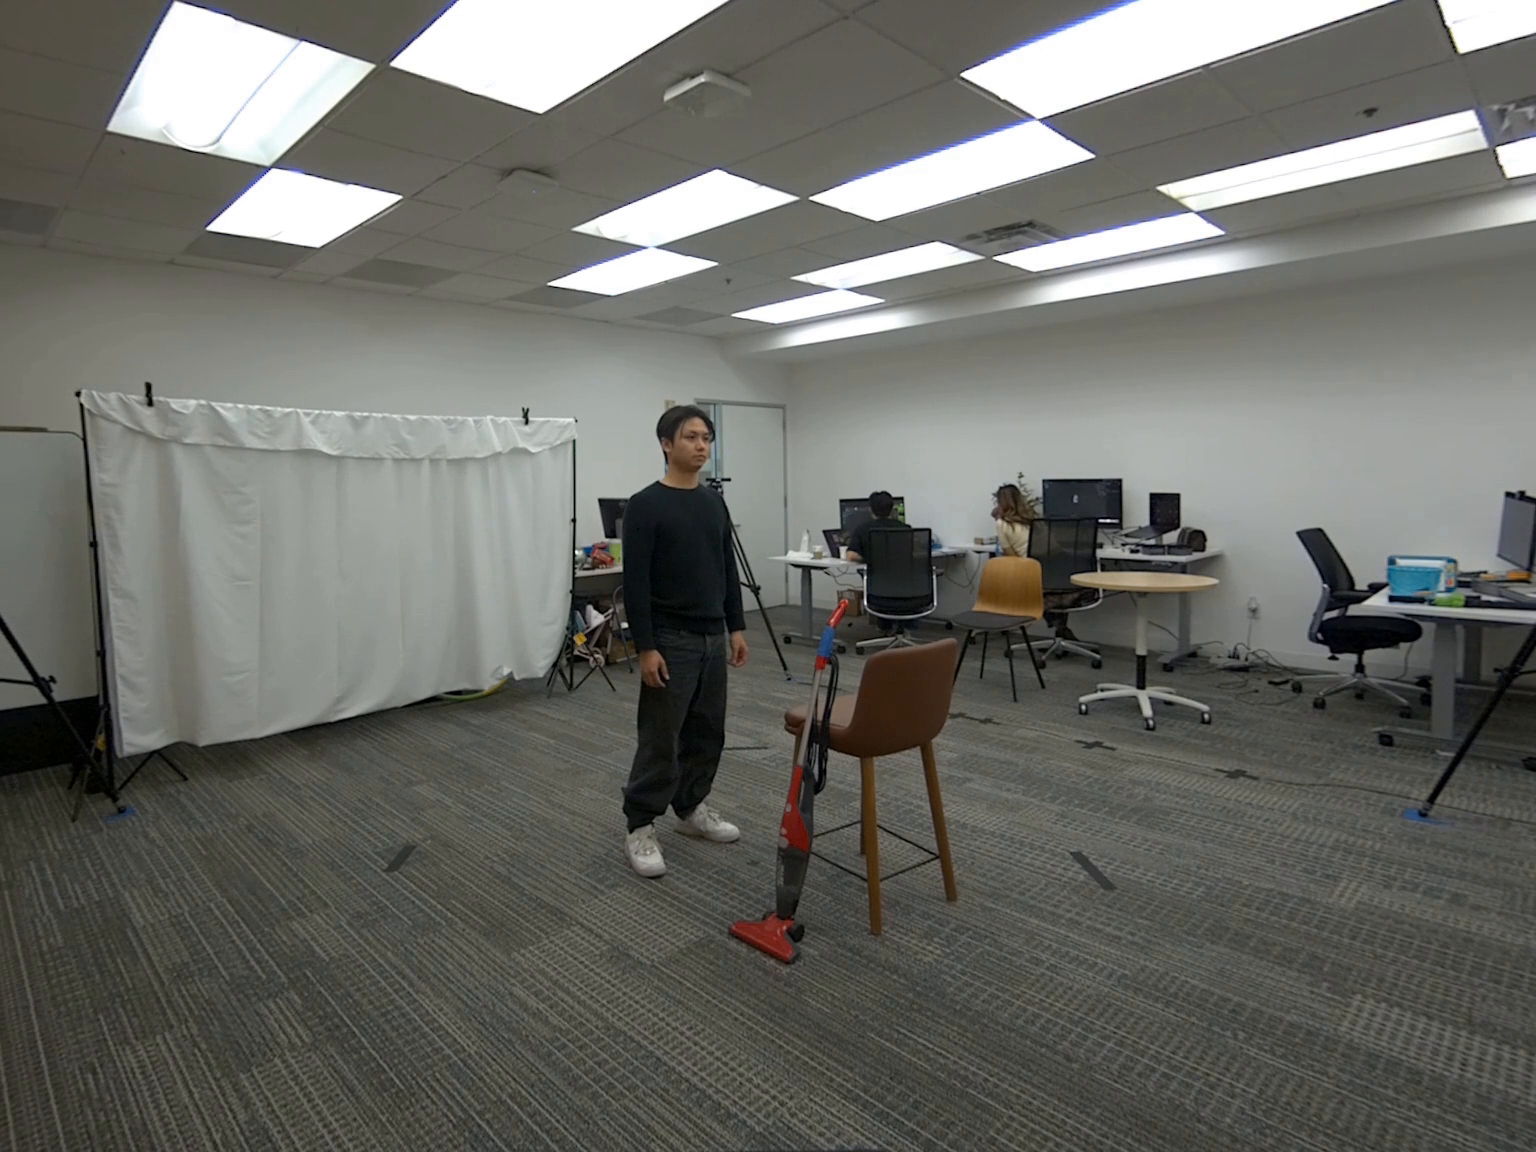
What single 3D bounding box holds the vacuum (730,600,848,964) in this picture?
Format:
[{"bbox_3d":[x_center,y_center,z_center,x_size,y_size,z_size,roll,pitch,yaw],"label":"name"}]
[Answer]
[{"bbox_3d":[0.131,0.595,2.669,0.260,1.056,0.139,3,-13,42],"label":"vacuum"}]
